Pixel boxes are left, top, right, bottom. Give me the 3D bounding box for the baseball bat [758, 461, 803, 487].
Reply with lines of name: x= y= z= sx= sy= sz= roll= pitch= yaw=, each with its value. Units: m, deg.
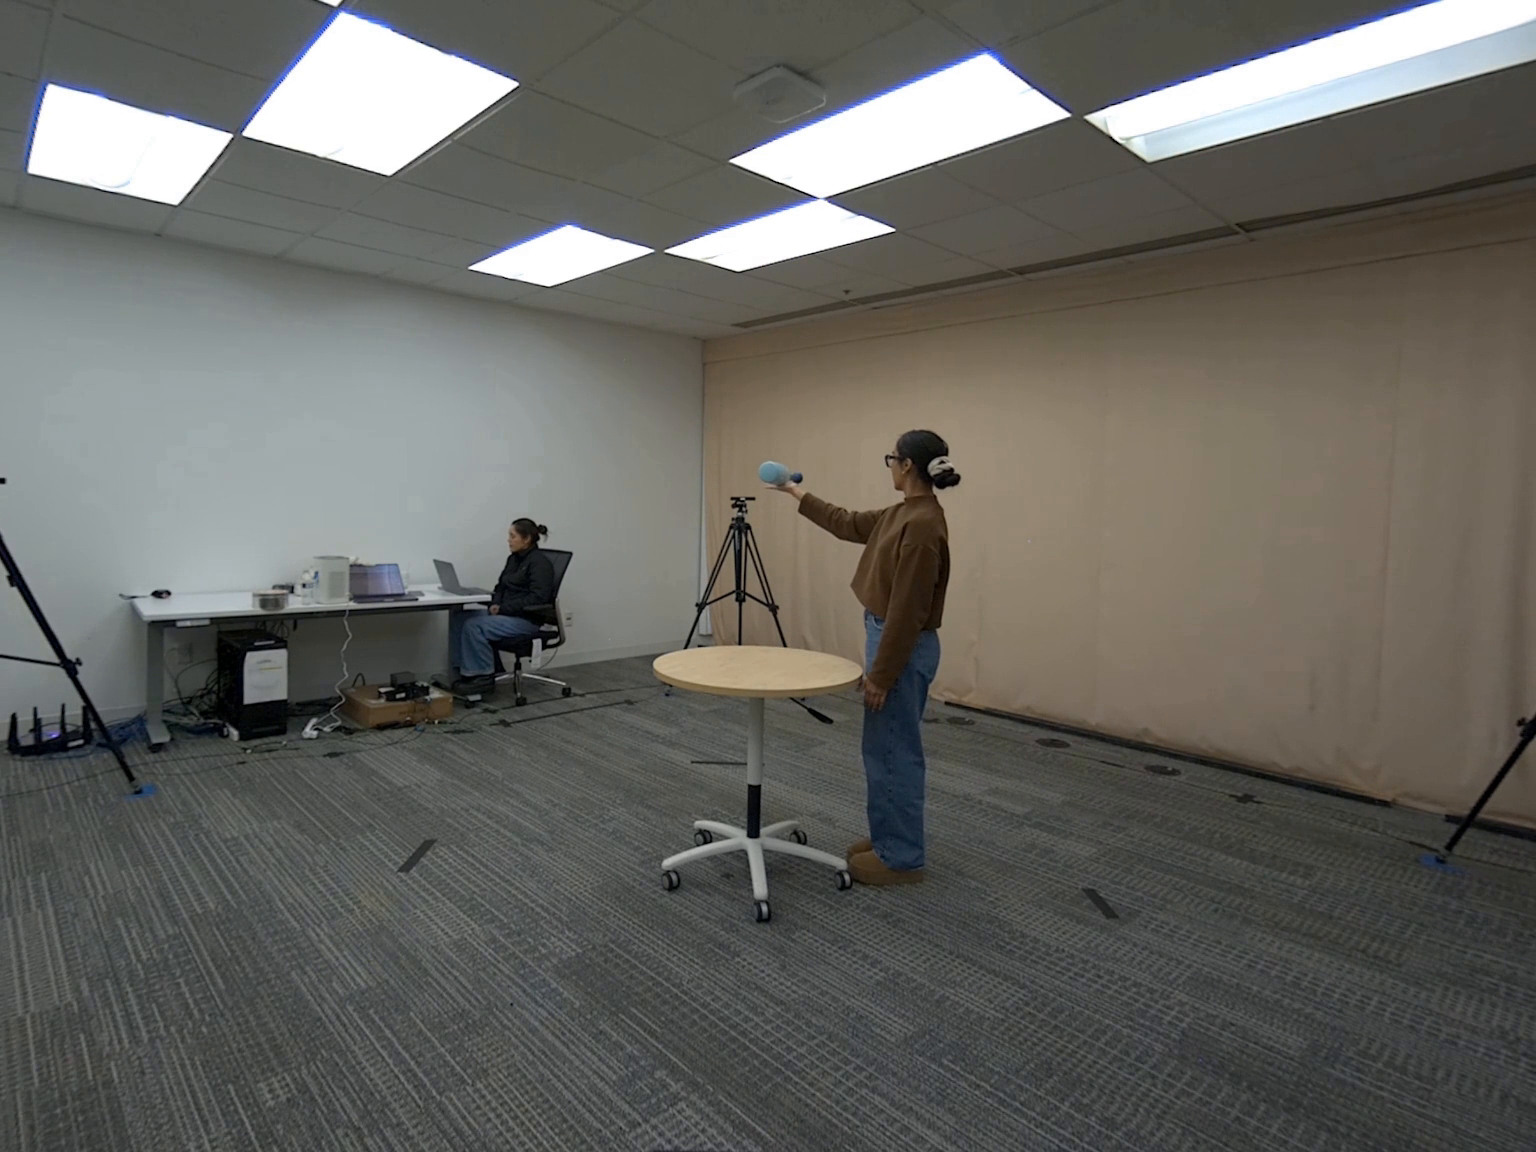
baseball bat: x=0.062 y=-0.420 z=3.548 sx=0.090 sy=0.089 sz=0.537 roll=2 pitch=4 yaw=14
